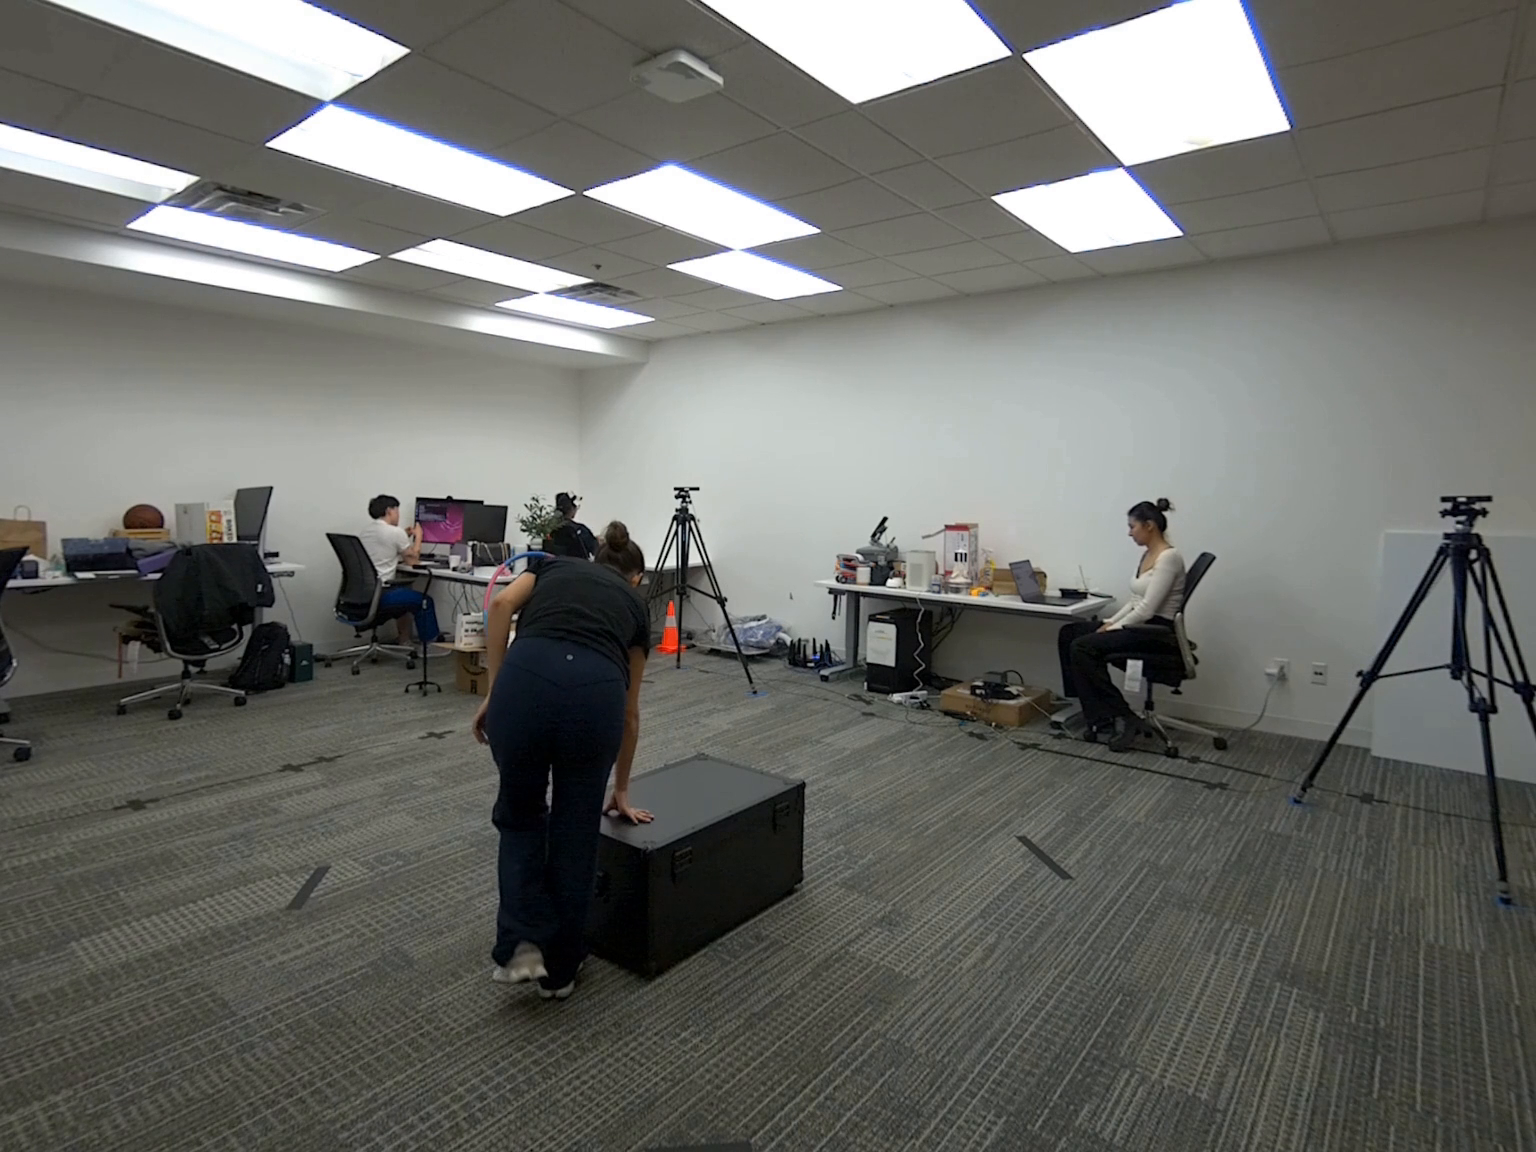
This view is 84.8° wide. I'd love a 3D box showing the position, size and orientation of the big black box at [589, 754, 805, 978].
[{"bbox_3d":[-0.265,0.886,2.853,0.538,0.395,0.836,4,6,38],"label":"big black box"}]
